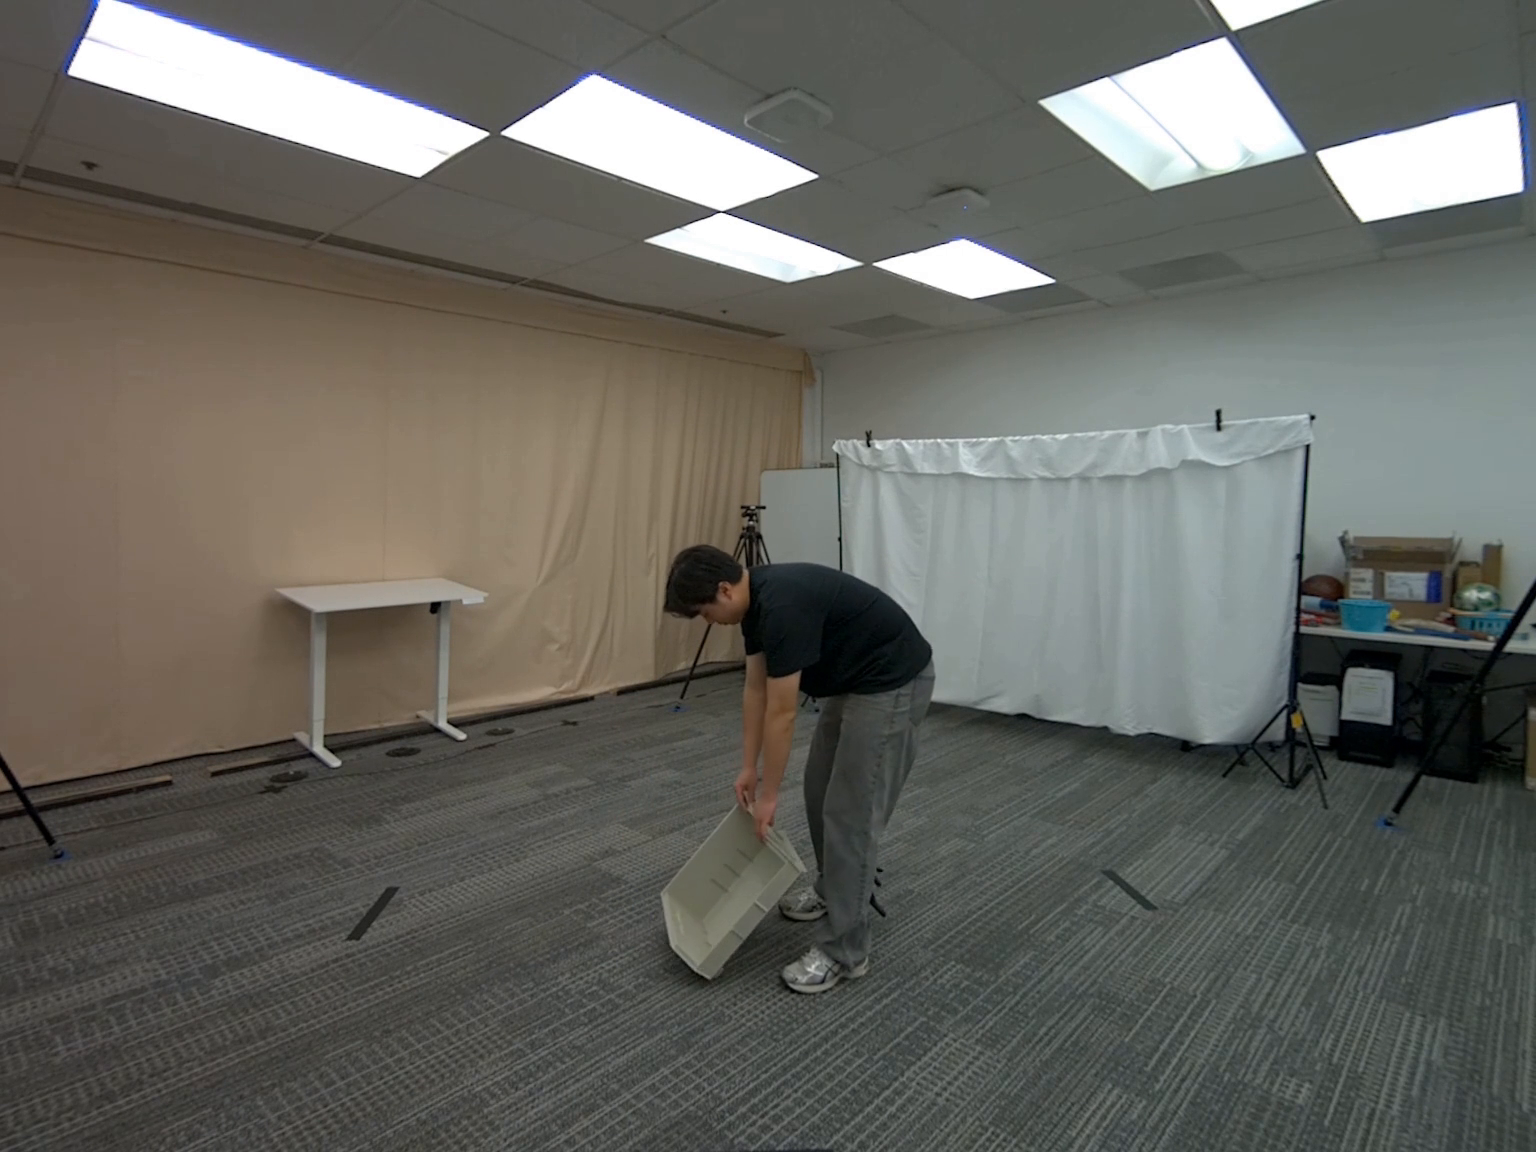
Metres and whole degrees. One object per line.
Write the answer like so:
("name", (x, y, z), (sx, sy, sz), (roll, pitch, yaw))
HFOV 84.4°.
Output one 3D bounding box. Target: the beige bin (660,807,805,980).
("beige bin", (-0.117, 0.959, 2.615), (0.187, 0.422, 0.382), (44, -5, -11))
